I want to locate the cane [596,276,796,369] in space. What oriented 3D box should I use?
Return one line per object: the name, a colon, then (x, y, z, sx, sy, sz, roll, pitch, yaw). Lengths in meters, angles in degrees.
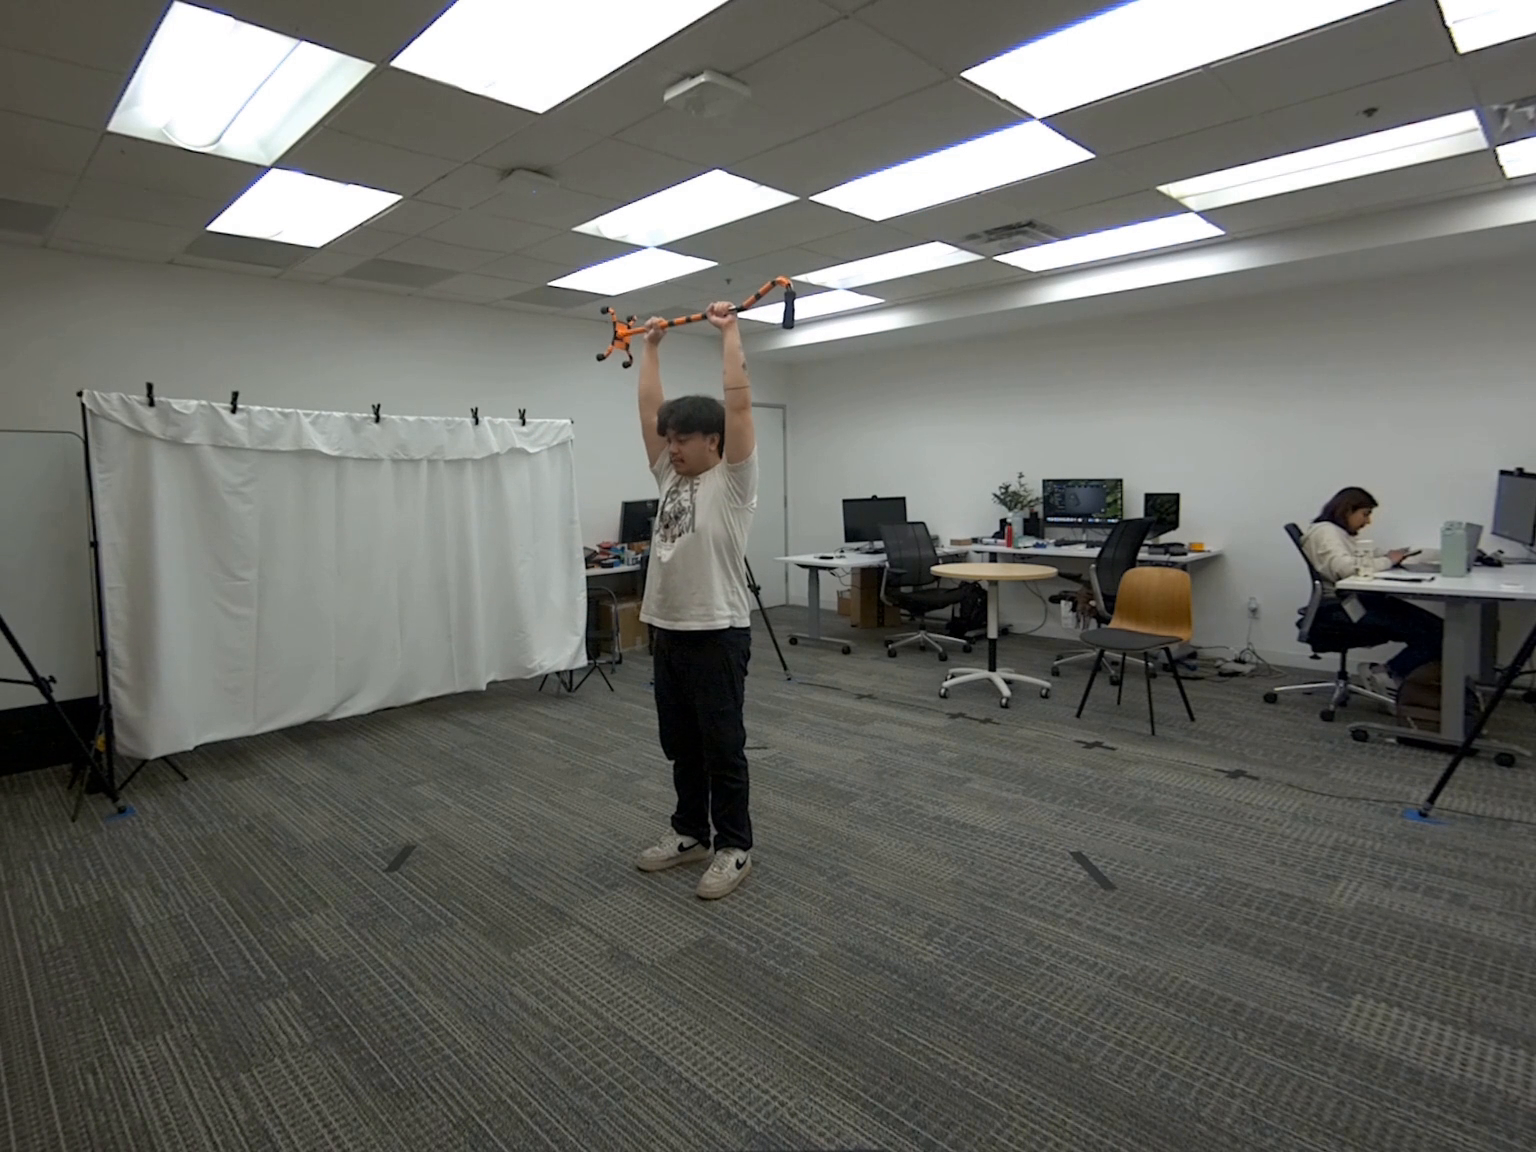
cane: (-0.249, -0.869, 2.879, 0.936, 0.206, 0.147, 5, 1, 44)
